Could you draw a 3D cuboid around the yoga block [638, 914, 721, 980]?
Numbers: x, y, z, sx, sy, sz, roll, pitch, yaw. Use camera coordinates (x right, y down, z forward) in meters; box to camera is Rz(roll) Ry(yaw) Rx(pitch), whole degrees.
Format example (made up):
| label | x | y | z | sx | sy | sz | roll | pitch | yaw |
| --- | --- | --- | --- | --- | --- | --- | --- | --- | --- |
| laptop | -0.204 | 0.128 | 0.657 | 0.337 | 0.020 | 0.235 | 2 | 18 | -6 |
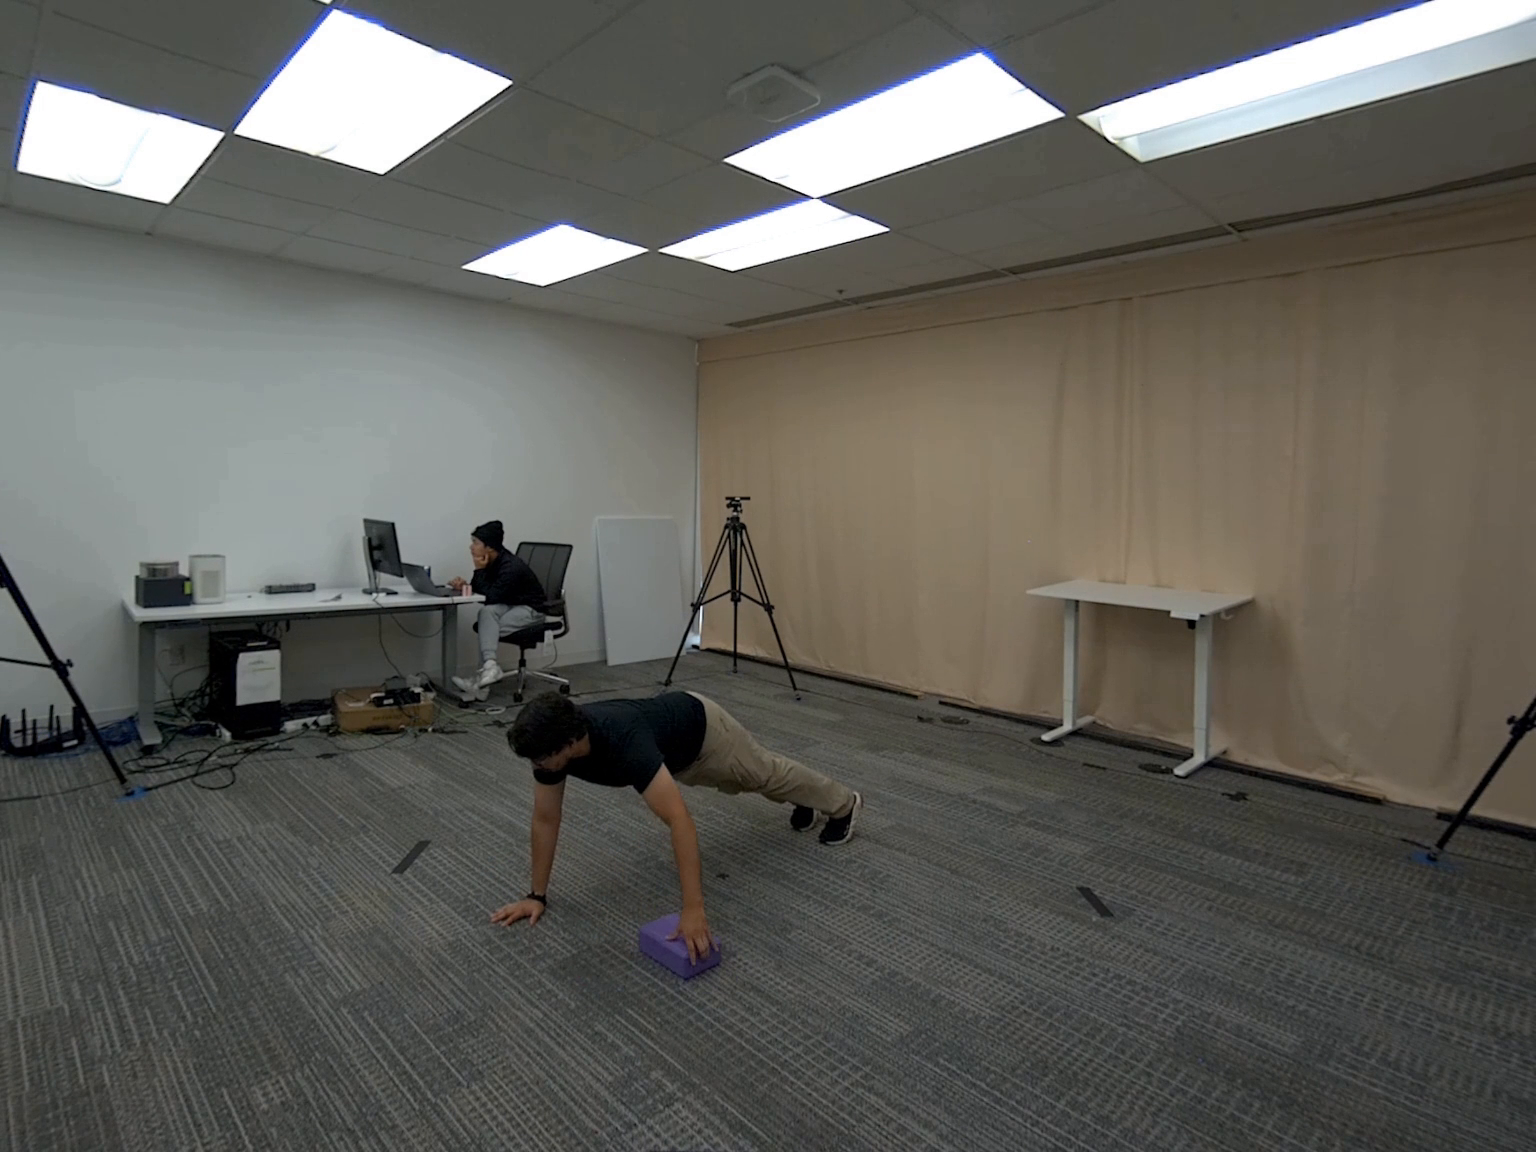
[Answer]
| label | x | y | z | sx | sy | sz | roll | pitch | yaw |
| --- | --- | --- | --- | --- | --- | --- | --- | --- | --- |
| yoga block | -0.278 | 1.120 | 2.541 | 0.146 | 0.076 | 0.235 | -5 | 8 | -44 |
